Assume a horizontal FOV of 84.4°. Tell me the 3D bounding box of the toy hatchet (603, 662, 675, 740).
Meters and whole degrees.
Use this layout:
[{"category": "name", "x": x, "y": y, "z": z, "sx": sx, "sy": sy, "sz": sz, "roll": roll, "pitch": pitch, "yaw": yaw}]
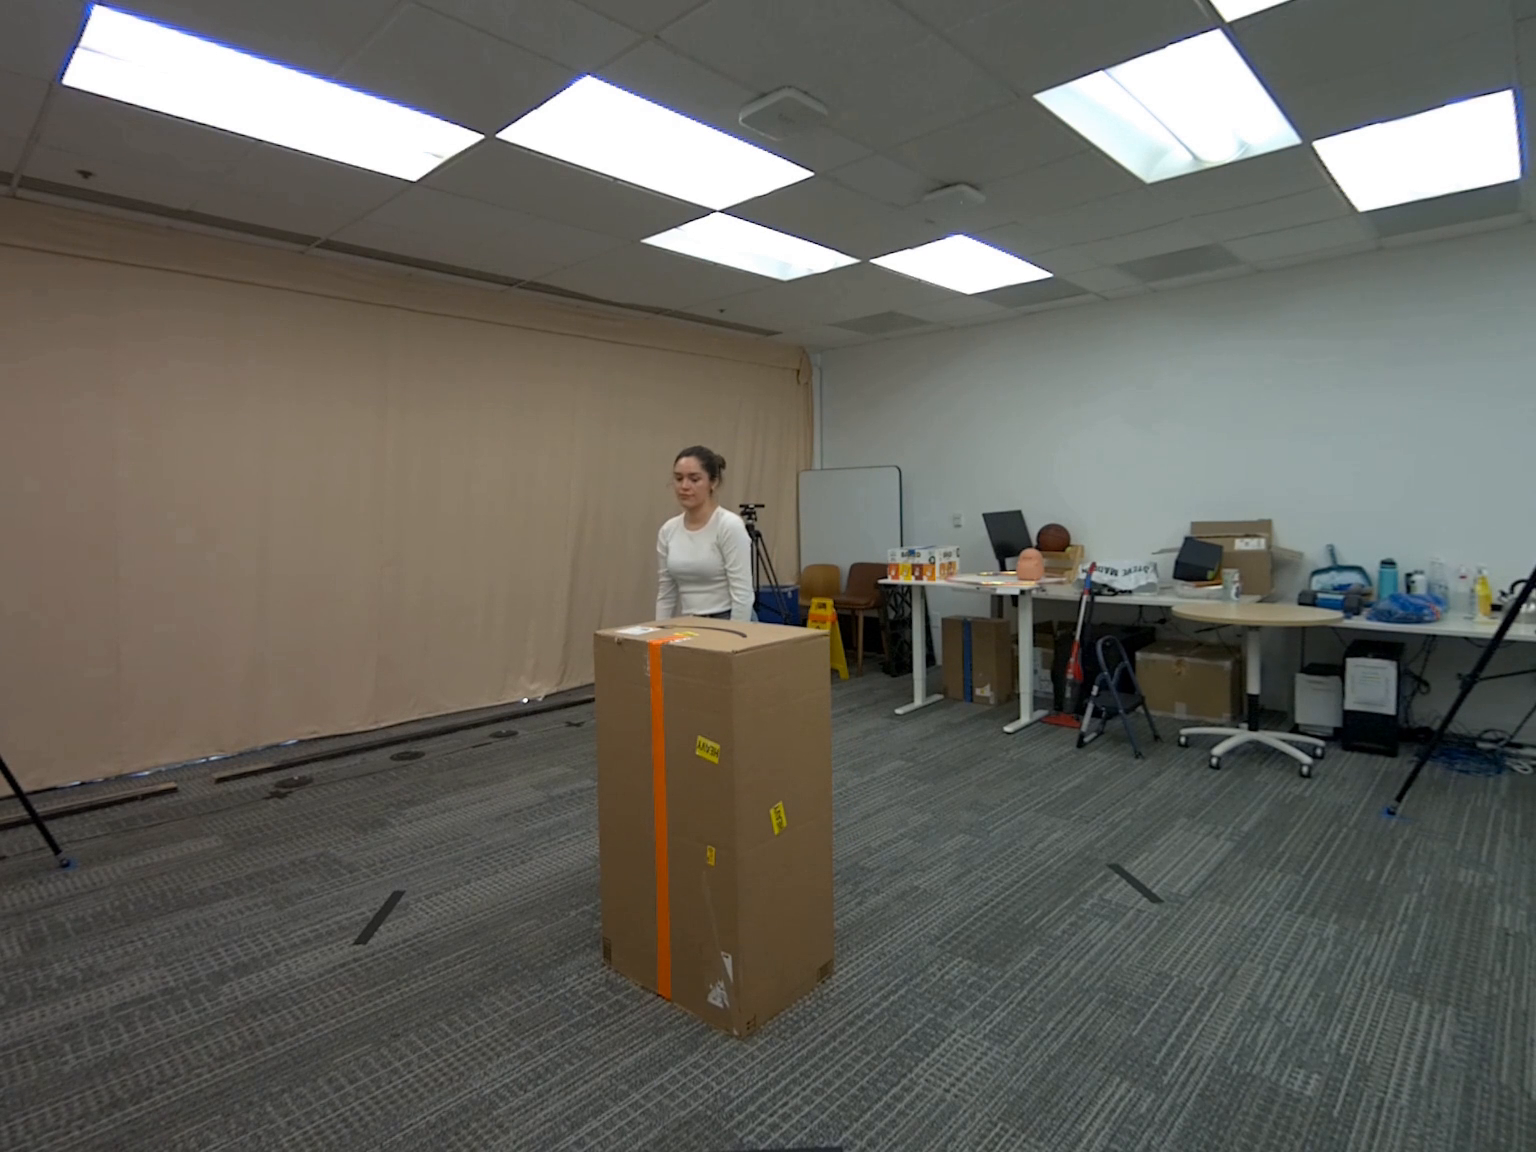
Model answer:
[{"category": "toy hatchet", "x": -0.499, "y": 0.479, "z": 3.272, "sx": 0.131, "sy": 0.269, "sz": 0.030, "roll": 38, "pitch": -10, "yaw": -1}]
